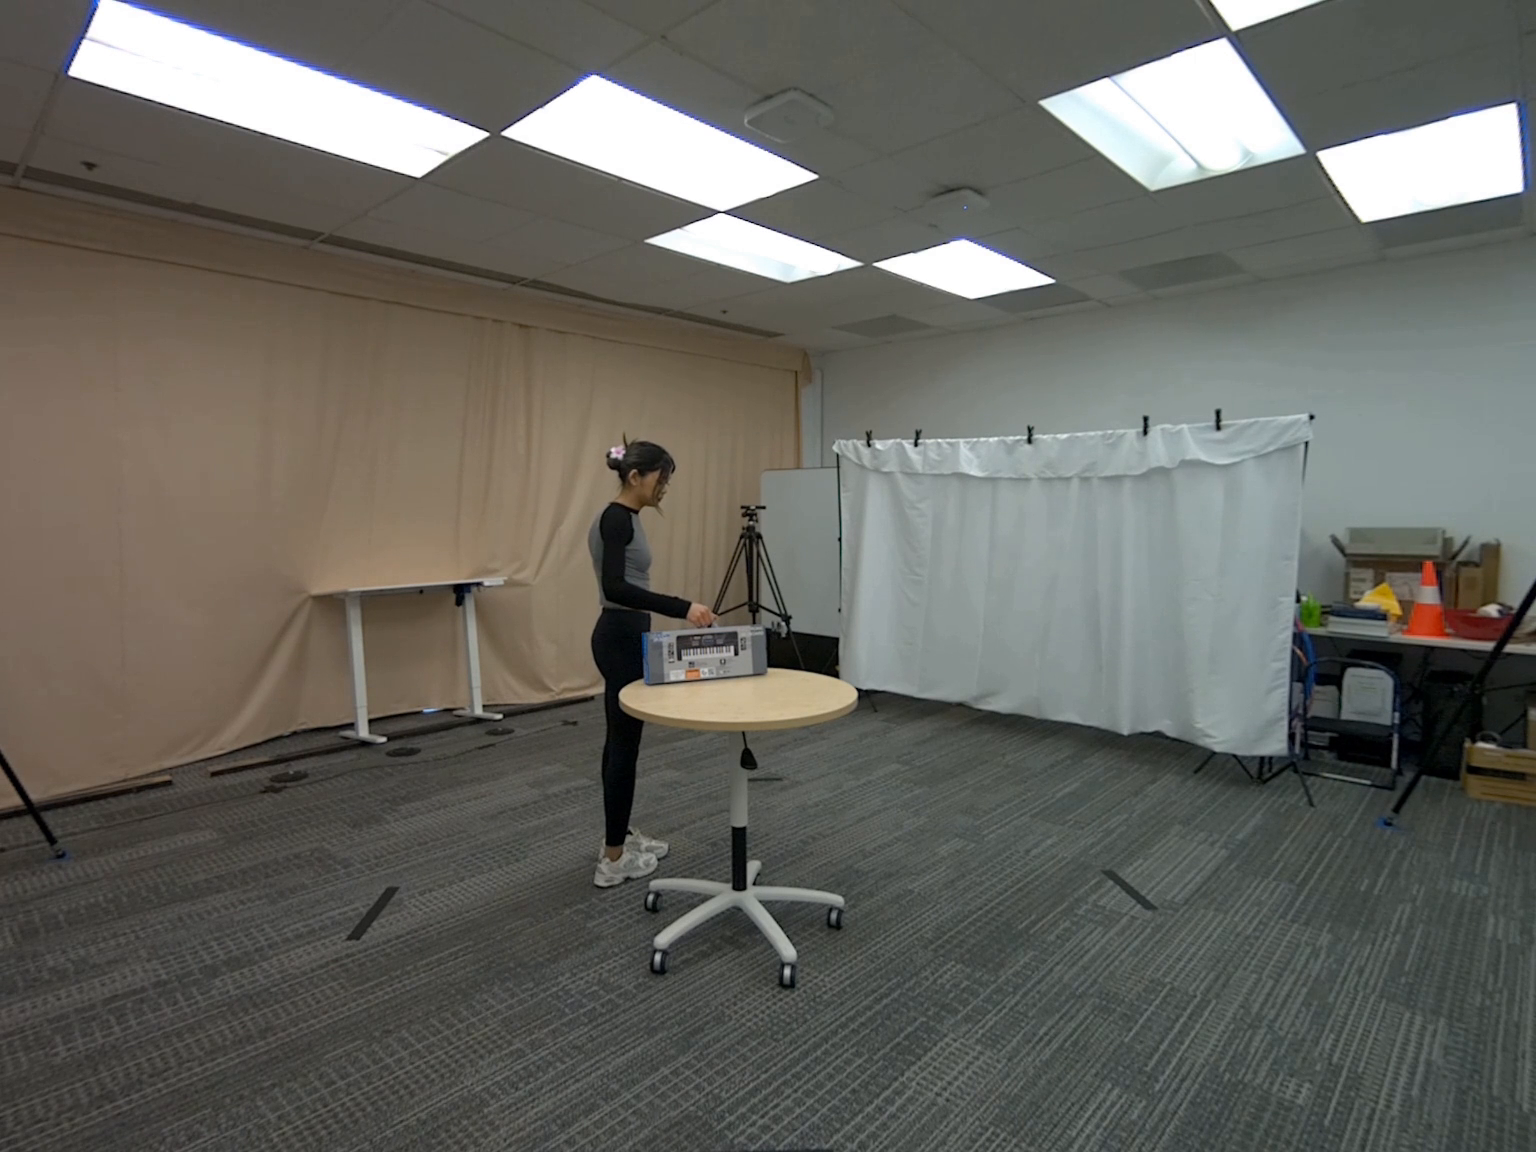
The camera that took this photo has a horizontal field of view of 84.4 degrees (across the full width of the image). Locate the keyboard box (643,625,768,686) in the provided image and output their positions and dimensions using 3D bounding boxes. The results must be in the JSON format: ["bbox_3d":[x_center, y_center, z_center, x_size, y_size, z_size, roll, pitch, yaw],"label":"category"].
[{"bbox_3d":[-0.214,0.271,2.910,0.428,0.176,0.060,-3,-2,-21],"label":"keyboard box"}]
